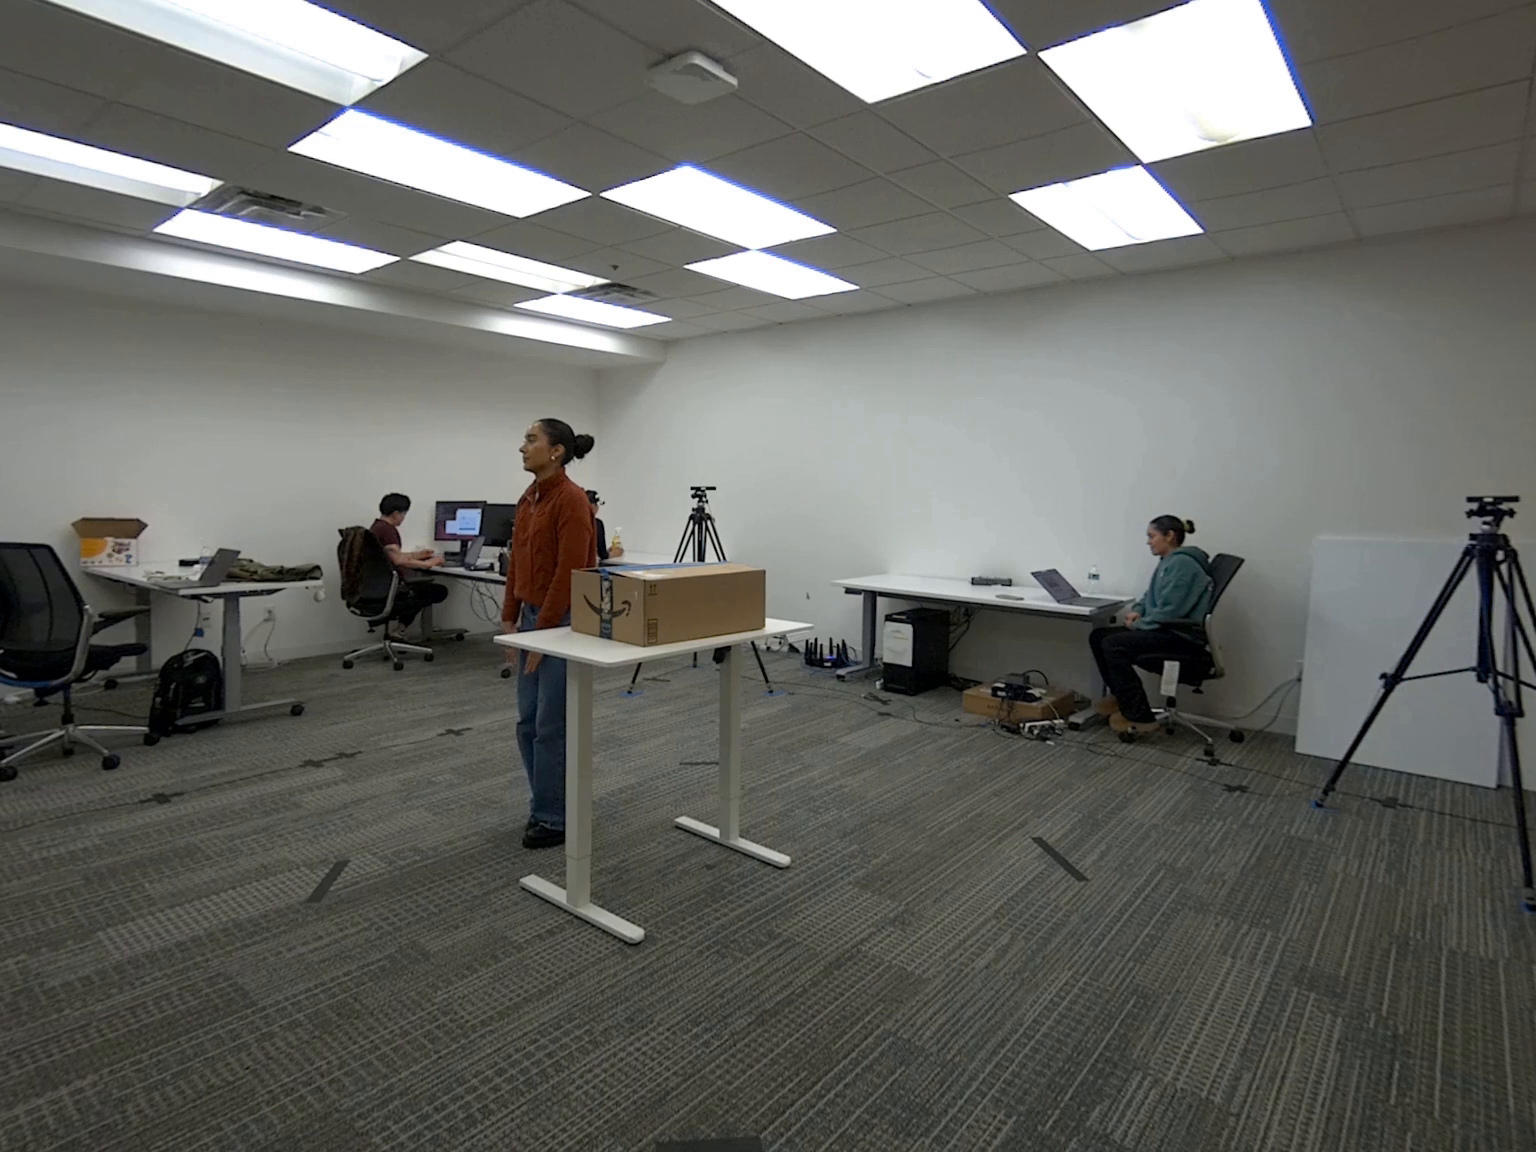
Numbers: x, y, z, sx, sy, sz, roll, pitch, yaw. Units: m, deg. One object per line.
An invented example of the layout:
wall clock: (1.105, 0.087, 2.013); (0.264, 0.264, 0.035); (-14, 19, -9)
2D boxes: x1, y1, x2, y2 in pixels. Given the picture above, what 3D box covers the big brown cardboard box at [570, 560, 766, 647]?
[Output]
big brown cardboard box: (-0.355, 0.082, 3.006); (0.571, 0.232, 0.432); (-3, 6, -44)
